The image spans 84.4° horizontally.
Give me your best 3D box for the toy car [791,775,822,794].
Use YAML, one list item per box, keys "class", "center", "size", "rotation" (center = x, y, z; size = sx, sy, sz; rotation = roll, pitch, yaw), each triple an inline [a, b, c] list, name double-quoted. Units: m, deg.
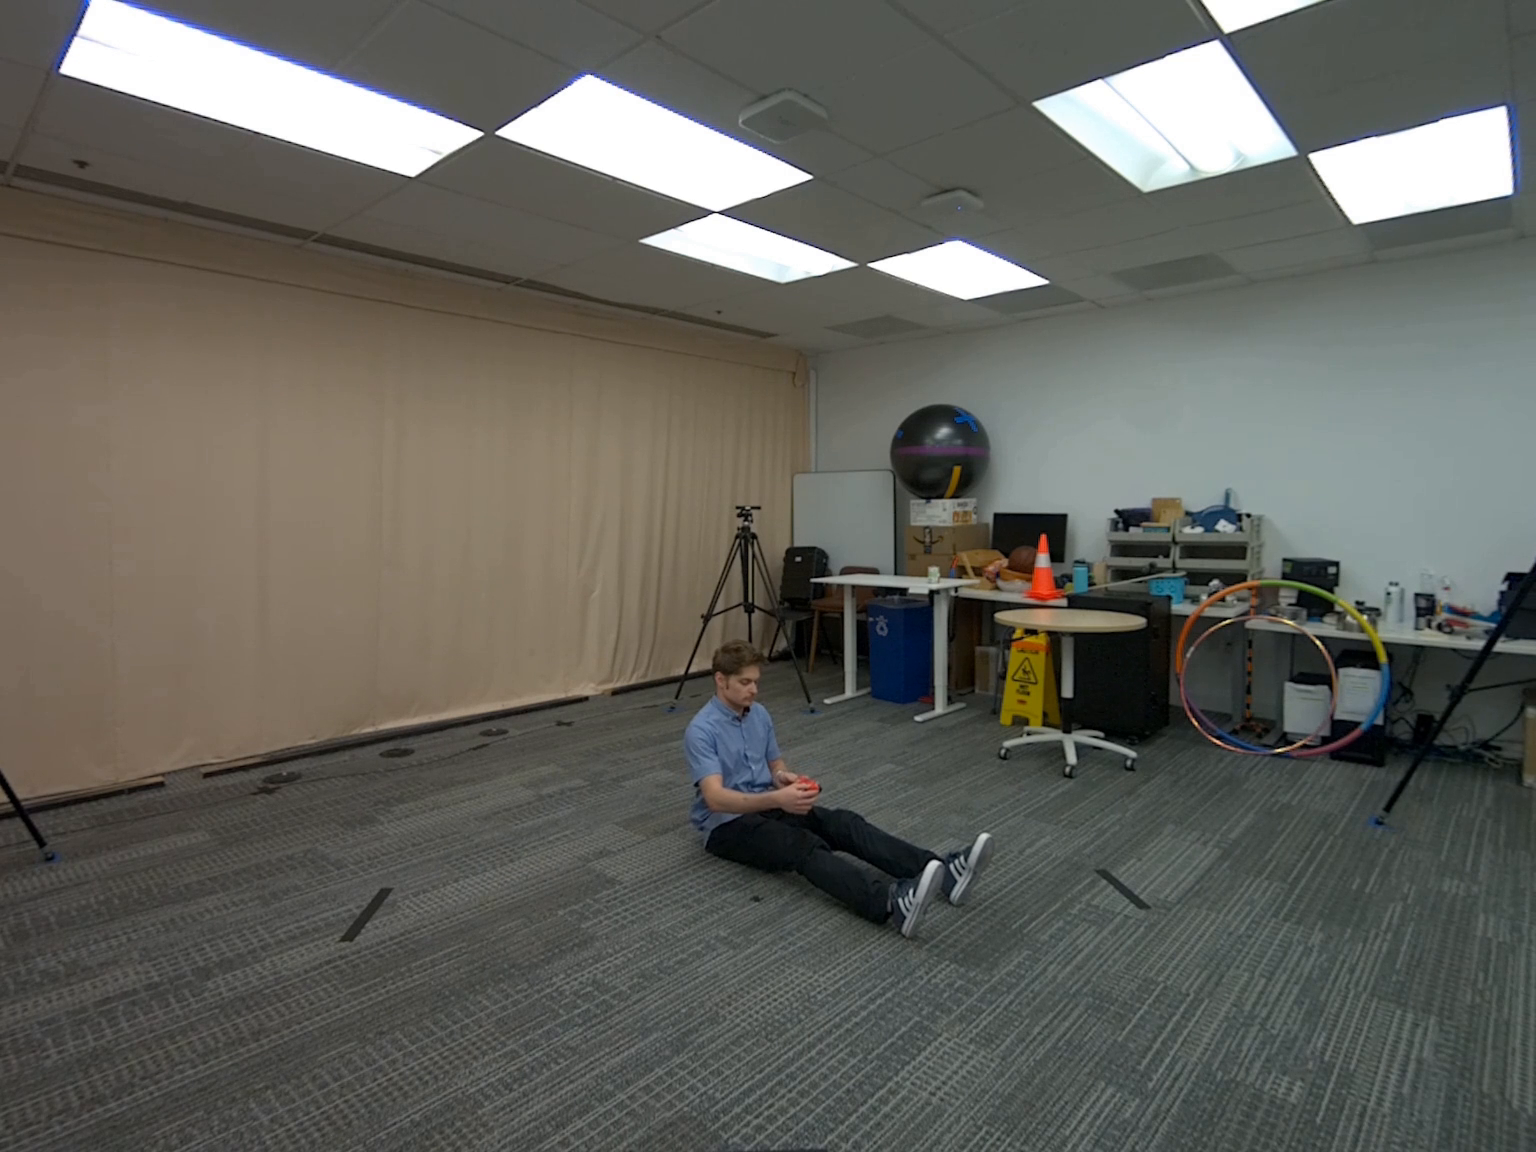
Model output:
- class: "toy car"
  center: [0.140, 0.812, 3.161]
  size: [0.084, 0.130, 0.253]
  rotation: [43, -11, 6]
